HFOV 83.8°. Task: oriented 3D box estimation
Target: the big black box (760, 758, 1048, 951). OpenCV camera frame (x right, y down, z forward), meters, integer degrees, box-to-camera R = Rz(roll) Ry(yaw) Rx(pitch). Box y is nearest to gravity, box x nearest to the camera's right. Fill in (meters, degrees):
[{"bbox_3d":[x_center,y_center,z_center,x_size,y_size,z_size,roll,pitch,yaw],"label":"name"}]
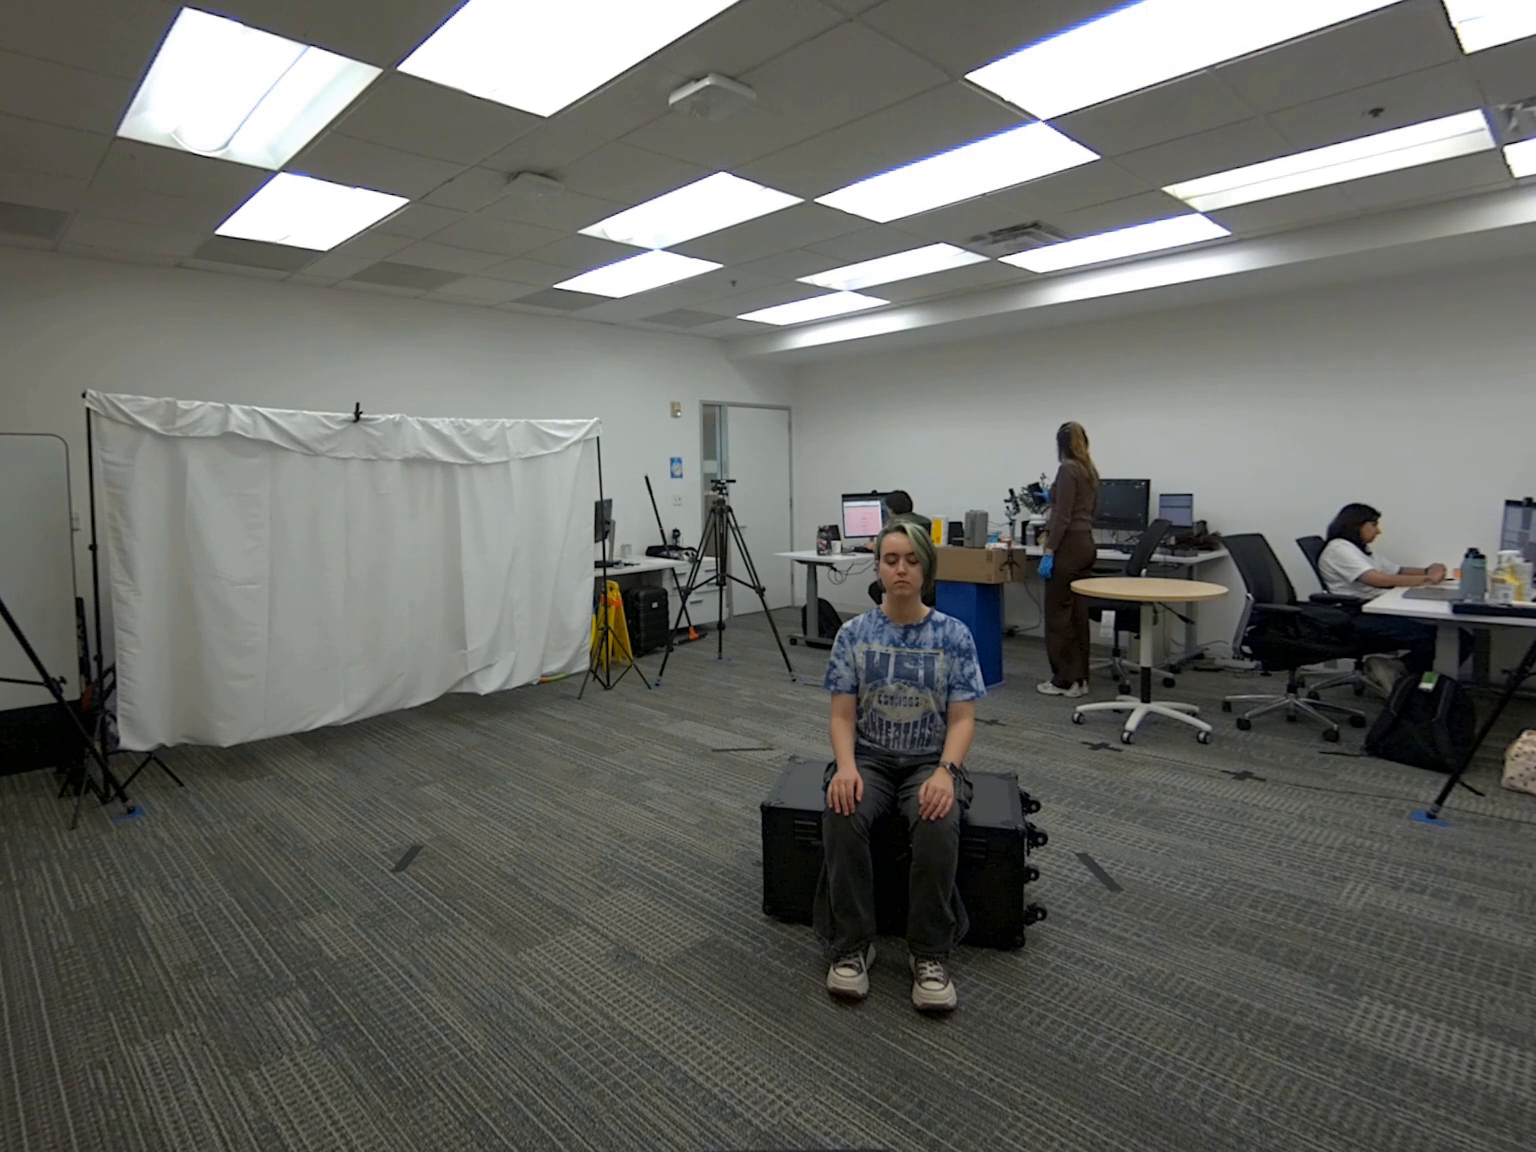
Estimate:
[{"bbox_3d":[0.448,0.882,2.801,0.874,0.395,0.516,0,5,14],"label":"big black box"}]
